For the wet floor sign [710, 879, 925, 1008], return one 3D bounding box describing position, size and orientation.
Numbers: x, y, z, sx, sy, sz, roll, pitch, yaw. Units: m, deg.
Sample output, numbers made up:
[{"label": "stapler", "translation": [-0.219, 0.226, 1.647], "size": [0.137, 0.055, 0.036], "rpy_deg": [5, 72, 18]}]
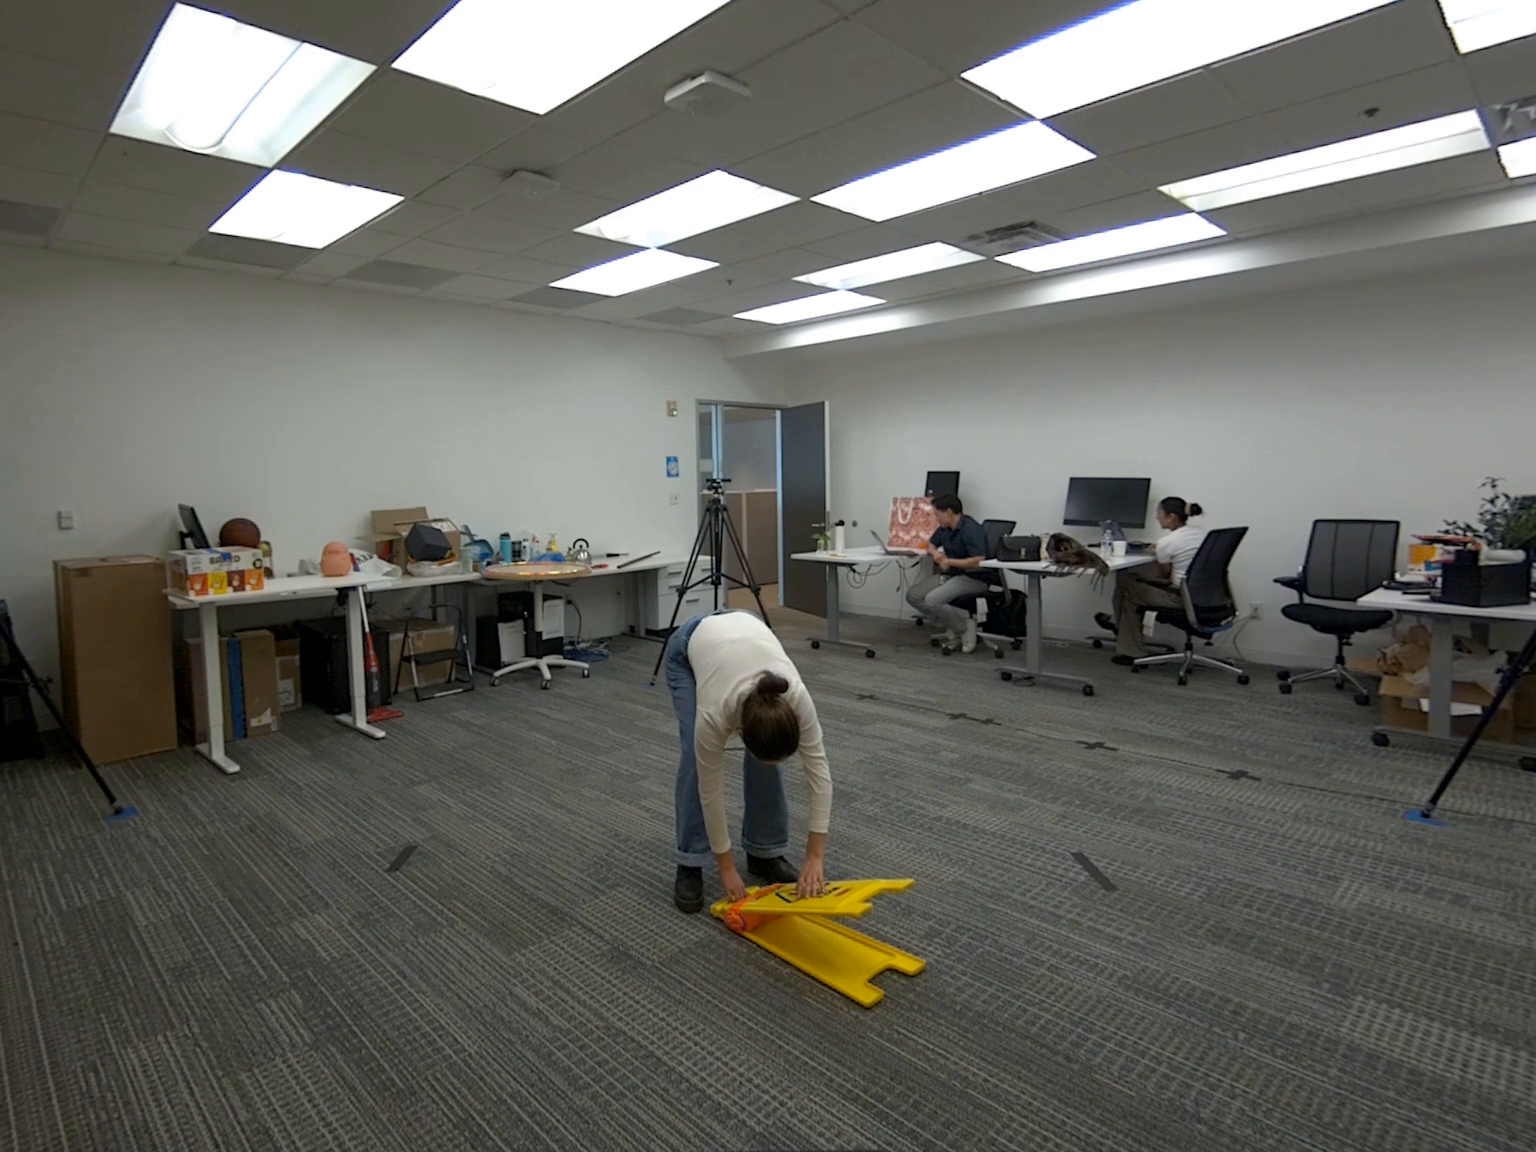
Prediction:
[{"label": "wet floor sign", "translation": [0.117, 1.036, 2.567], "size": [0.274, 0.291, 0.661], "rpy_deg": [-3, -5, -44]}]
